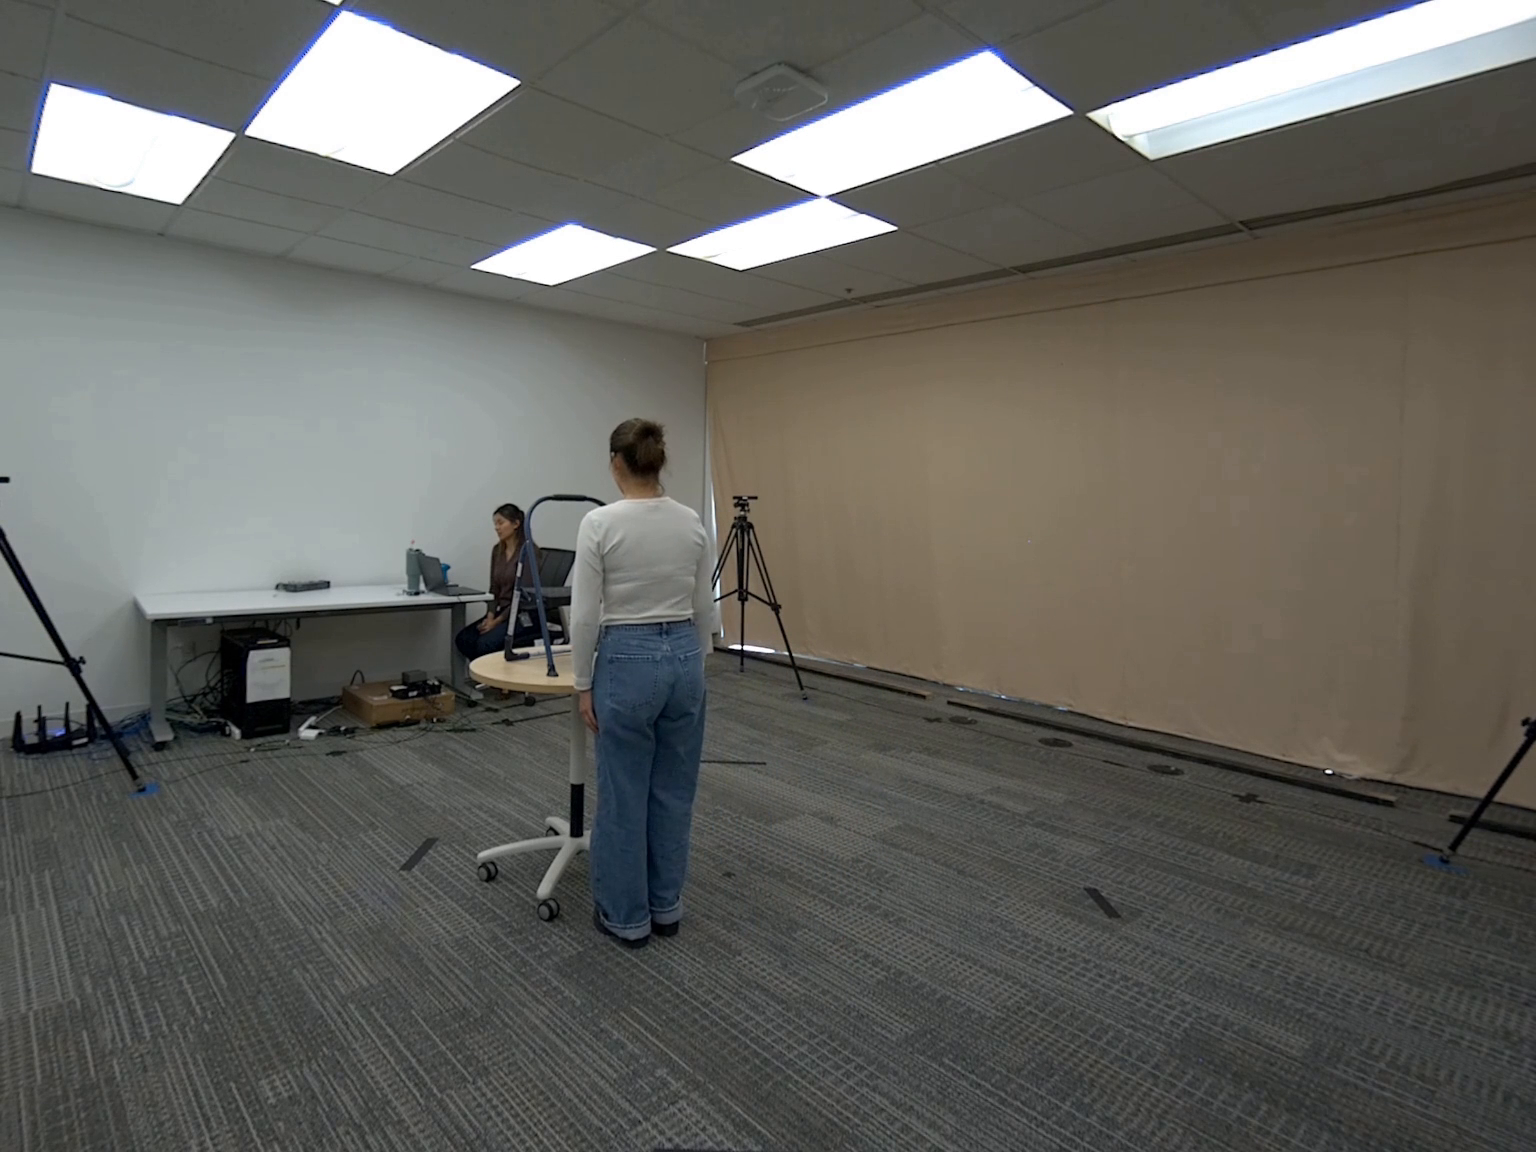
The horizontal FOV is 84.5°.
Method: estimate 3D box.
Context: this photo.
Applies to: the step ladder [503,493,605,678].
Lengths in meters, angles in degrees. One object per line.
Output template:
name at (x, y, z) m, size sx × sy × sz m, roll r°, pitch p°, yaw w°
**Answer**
step ladder at (-0.690, 0.012, 3.051) m, size 0.358 × 0.605 × 0.420 m, roll 5°, pitch 5°, yaw 44°
